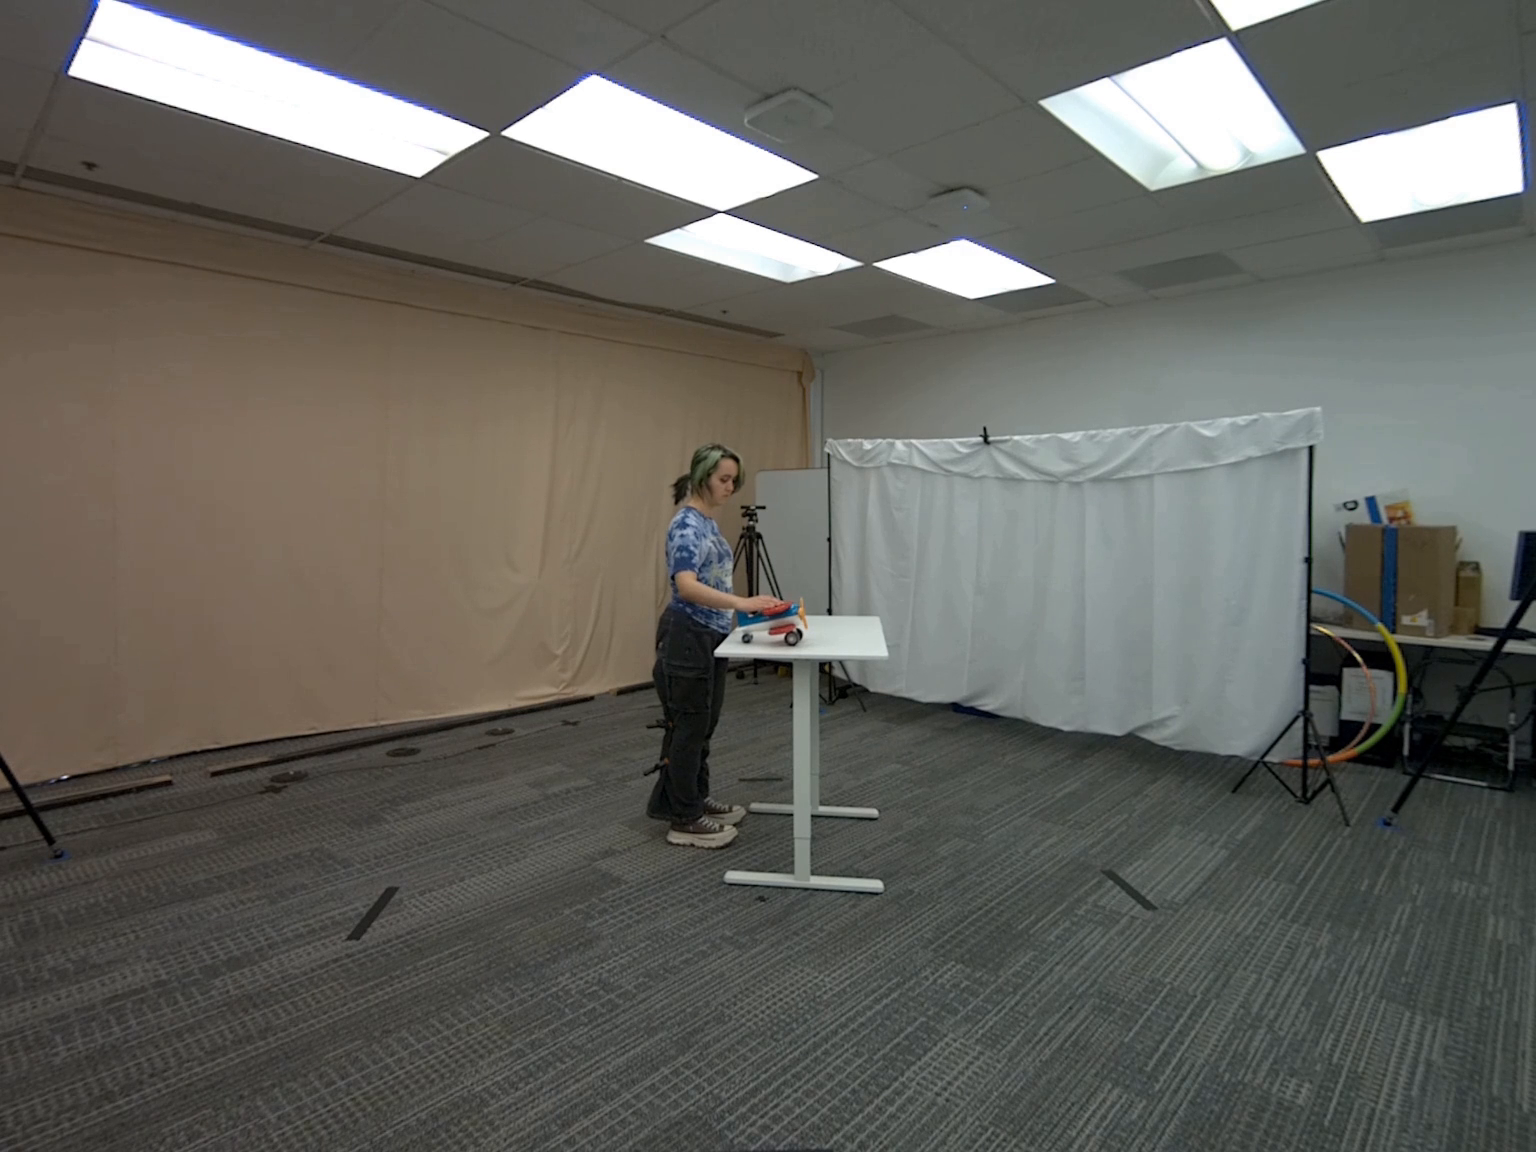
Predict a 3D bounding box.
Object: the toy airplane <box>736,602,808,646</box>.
[{"bbox_3d":[0.018,0.178,3.104,0.255,0.156,0.256,-2,5,-18],"label":"toy airplane"}]
